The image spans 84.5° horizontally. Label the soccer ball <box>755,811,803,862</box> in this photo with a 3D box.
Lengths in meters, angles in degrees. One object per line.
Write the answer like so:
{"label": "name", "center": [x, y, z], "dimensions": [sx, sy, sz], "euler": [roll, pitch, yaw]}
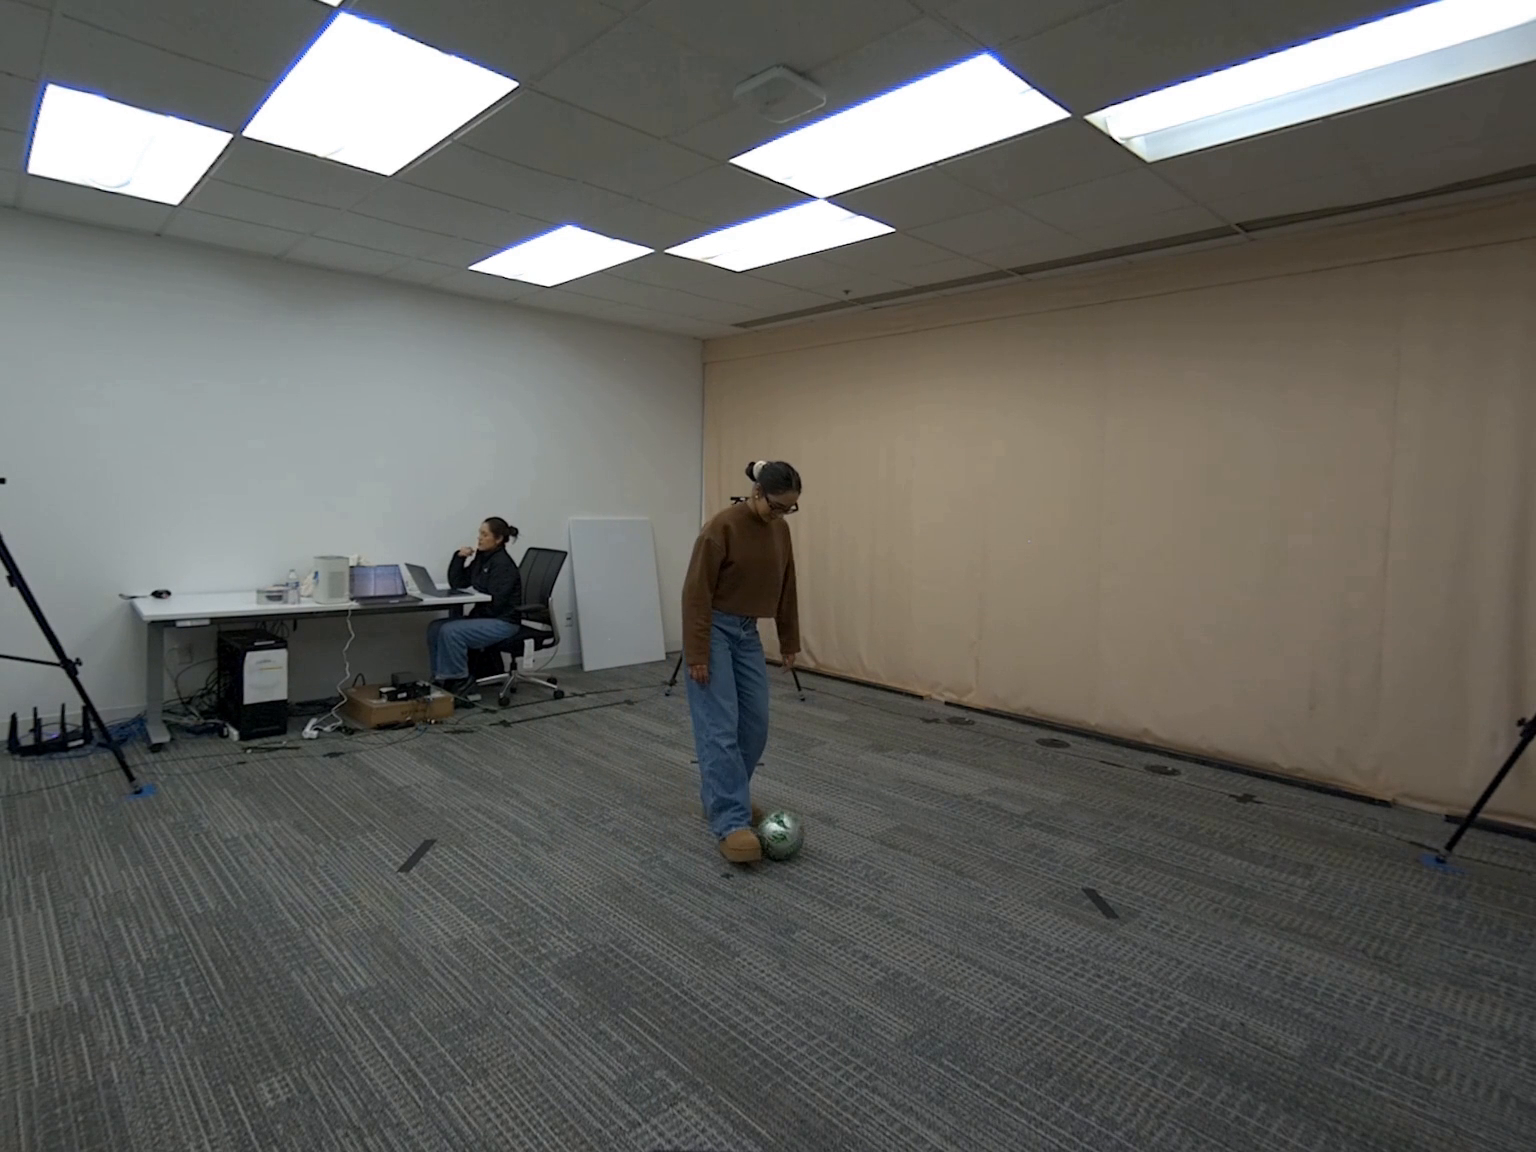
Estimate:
{"label": "soccer ball", "center": [0.038, 1.000, 3.269], "dimensions": [0.187, 0.187, 0.188], "euler": [1, 4, -1]}
